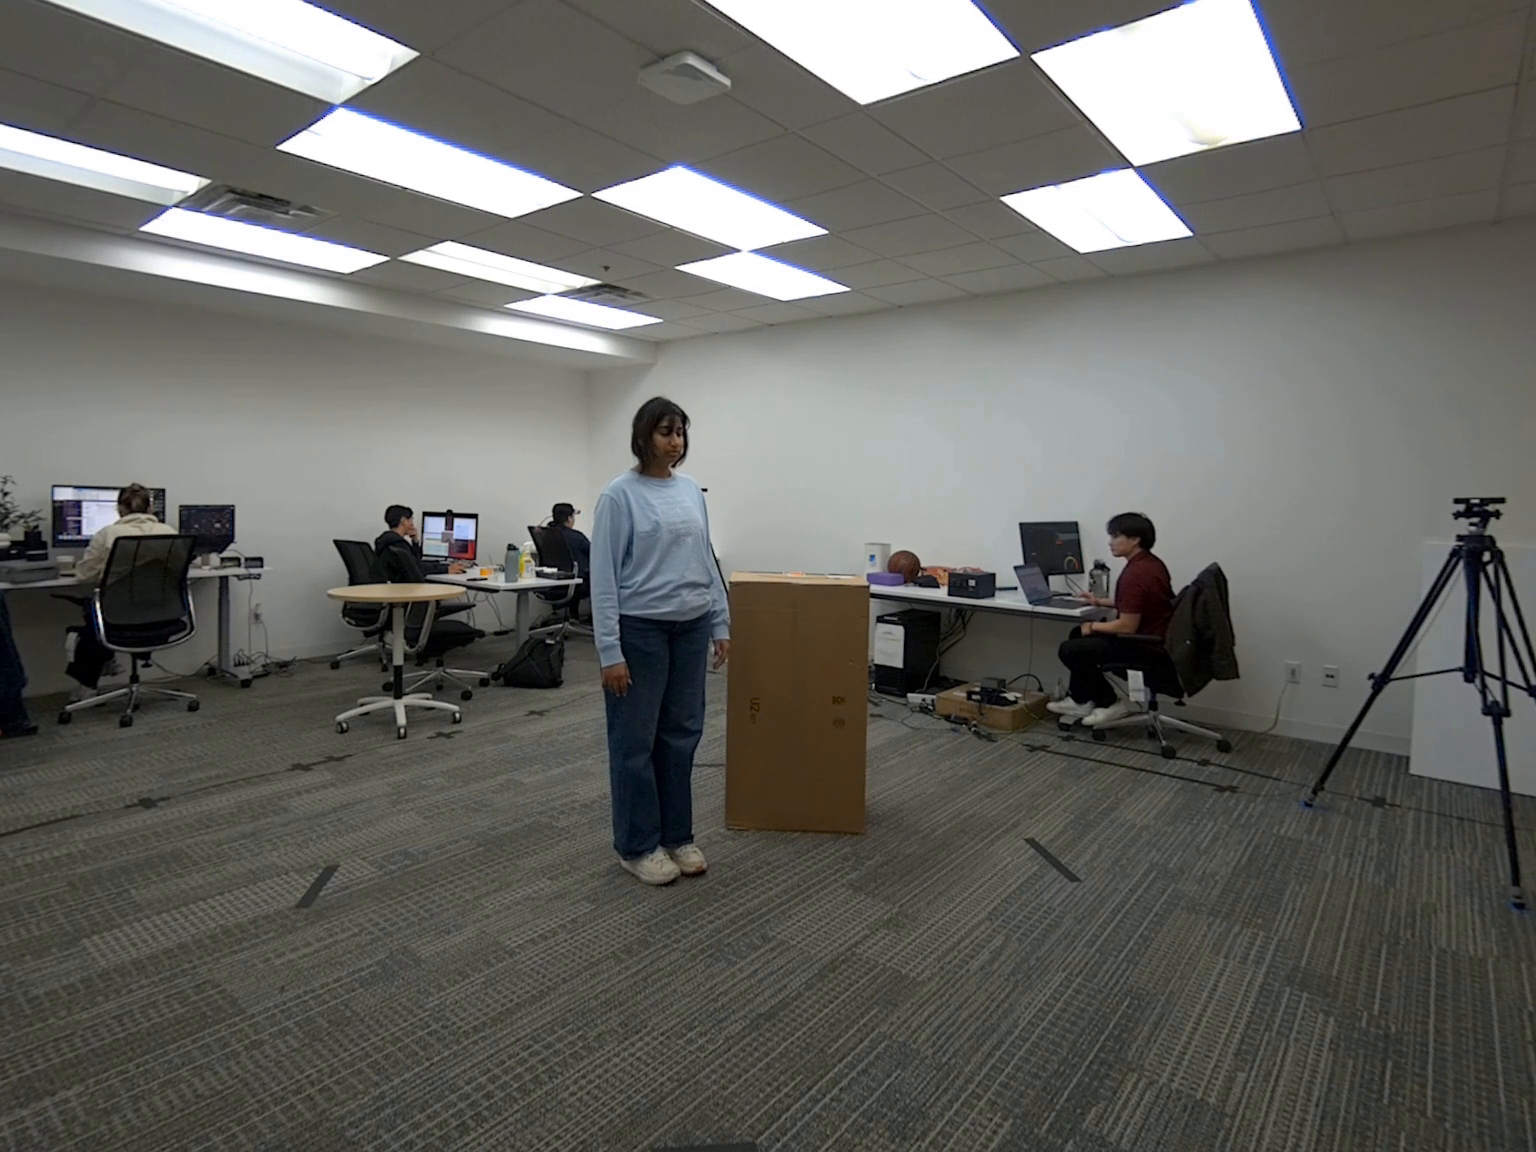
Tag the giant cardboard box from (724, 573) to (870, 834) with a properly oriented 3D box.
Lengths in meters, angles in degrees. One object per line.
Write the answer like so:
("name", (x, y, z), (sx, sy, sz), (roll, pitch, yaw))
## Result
("giant cardboard box", (0.111, 0.512, 3.664), (0.579, 1.023, 0.426), (1, 3, 2))
